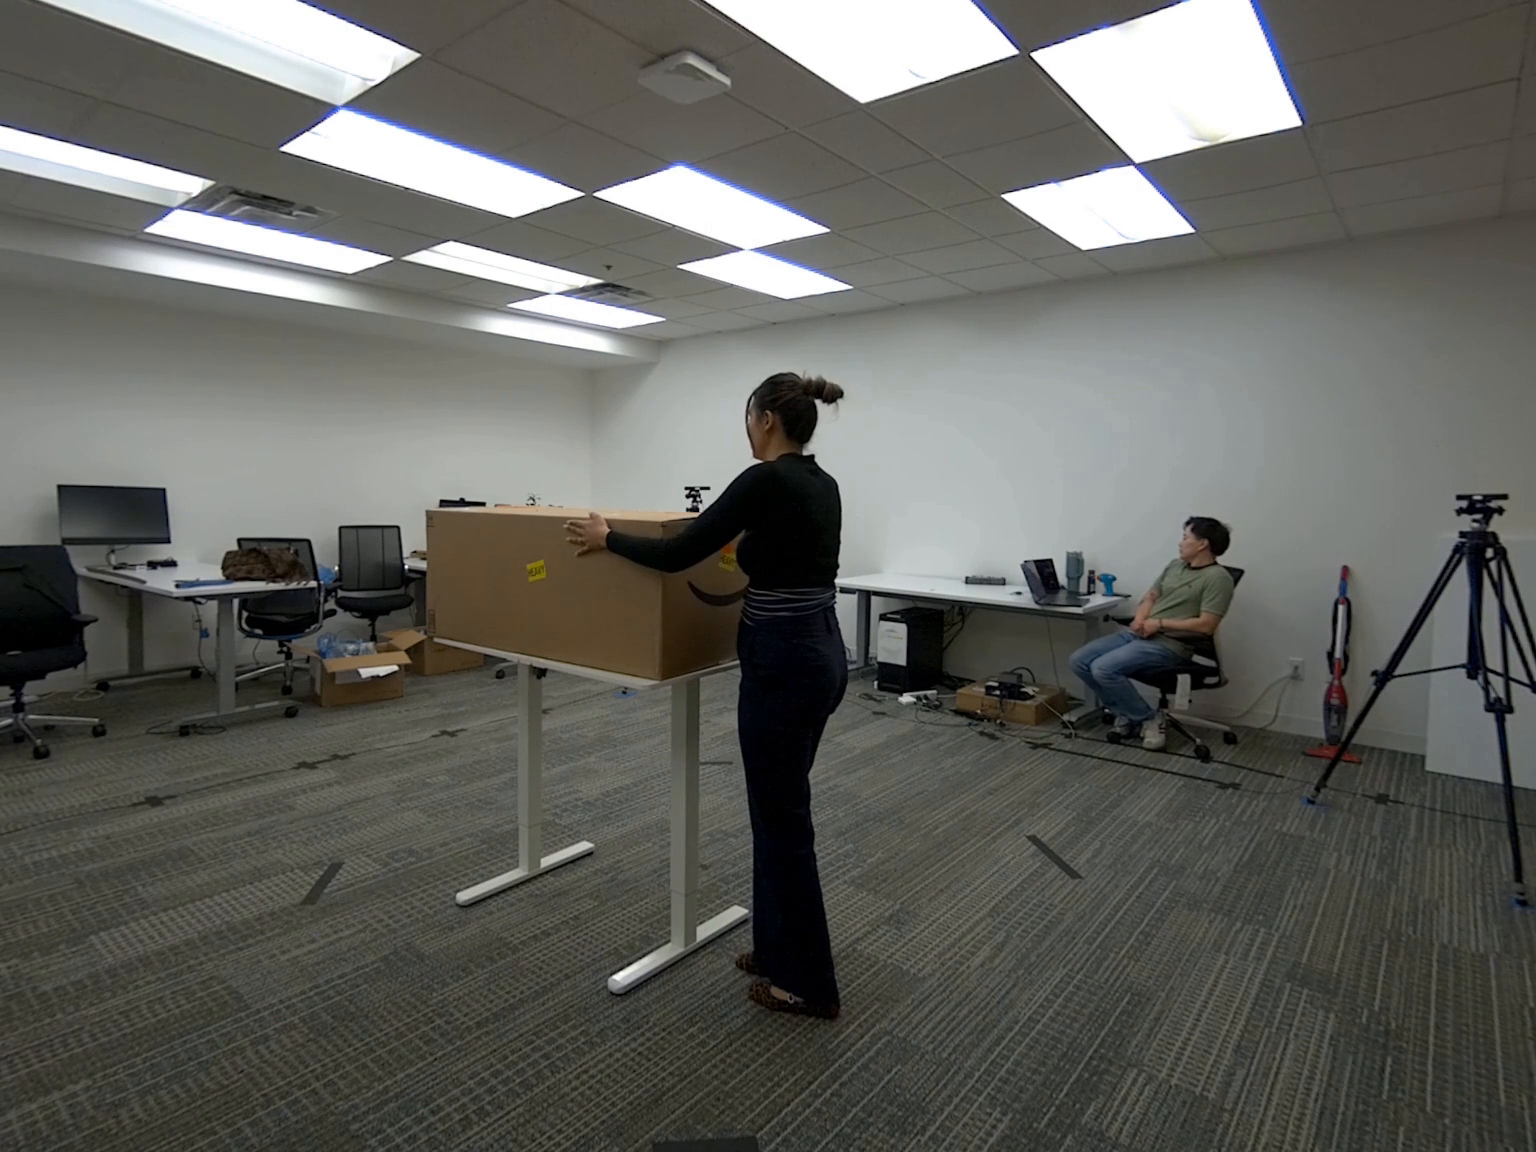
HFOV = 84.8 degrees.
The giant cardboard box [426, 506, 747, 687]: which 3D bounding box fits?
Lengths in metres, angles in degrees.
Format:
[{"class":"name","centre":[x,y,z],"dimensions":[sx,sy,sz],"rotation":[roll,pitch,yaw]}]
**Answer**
[{"class":"giant cardboard box","centre":[-0.558,0.007,2.751],"dimensions":[1.059,0.424,0.561],"rotation":[6,7,35]}]
